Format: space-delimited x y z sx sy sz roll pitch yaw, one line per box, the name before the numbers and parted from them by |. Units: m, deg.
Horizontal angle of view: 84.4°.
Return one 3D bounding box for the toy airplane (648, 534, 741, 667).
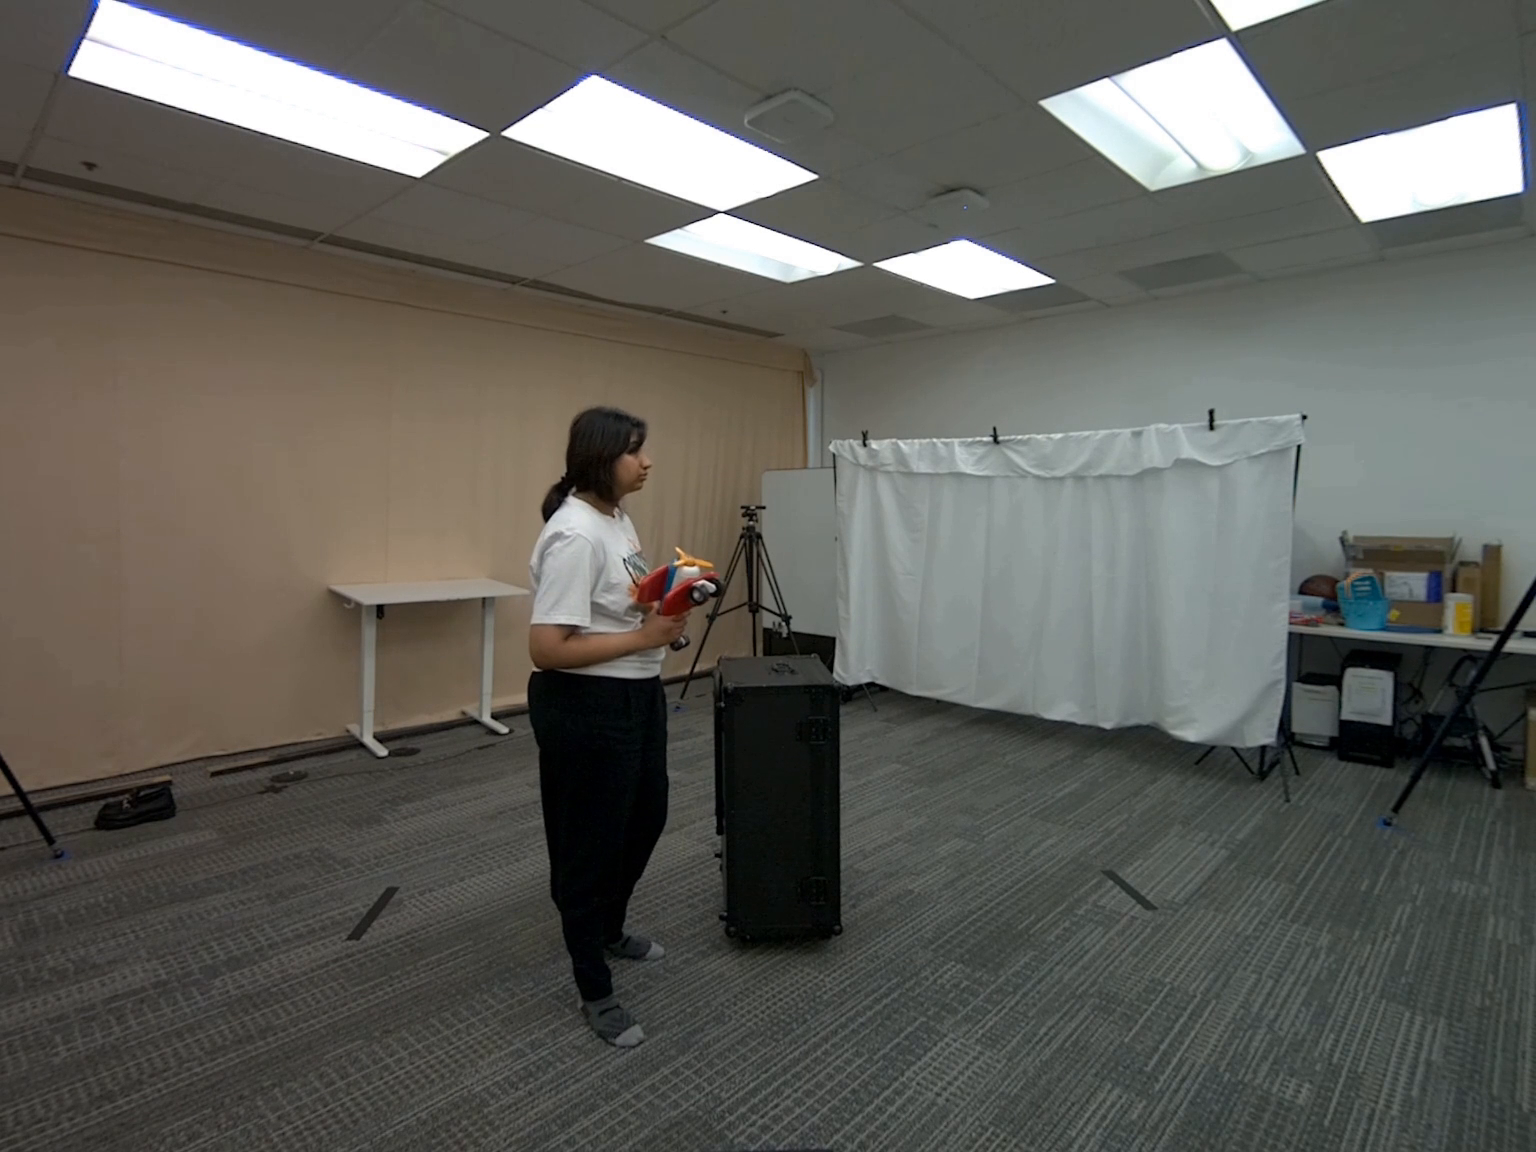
toy airplane | -0.234 0.068 2.175 0.159 0.259 0.246 39 -4 15
